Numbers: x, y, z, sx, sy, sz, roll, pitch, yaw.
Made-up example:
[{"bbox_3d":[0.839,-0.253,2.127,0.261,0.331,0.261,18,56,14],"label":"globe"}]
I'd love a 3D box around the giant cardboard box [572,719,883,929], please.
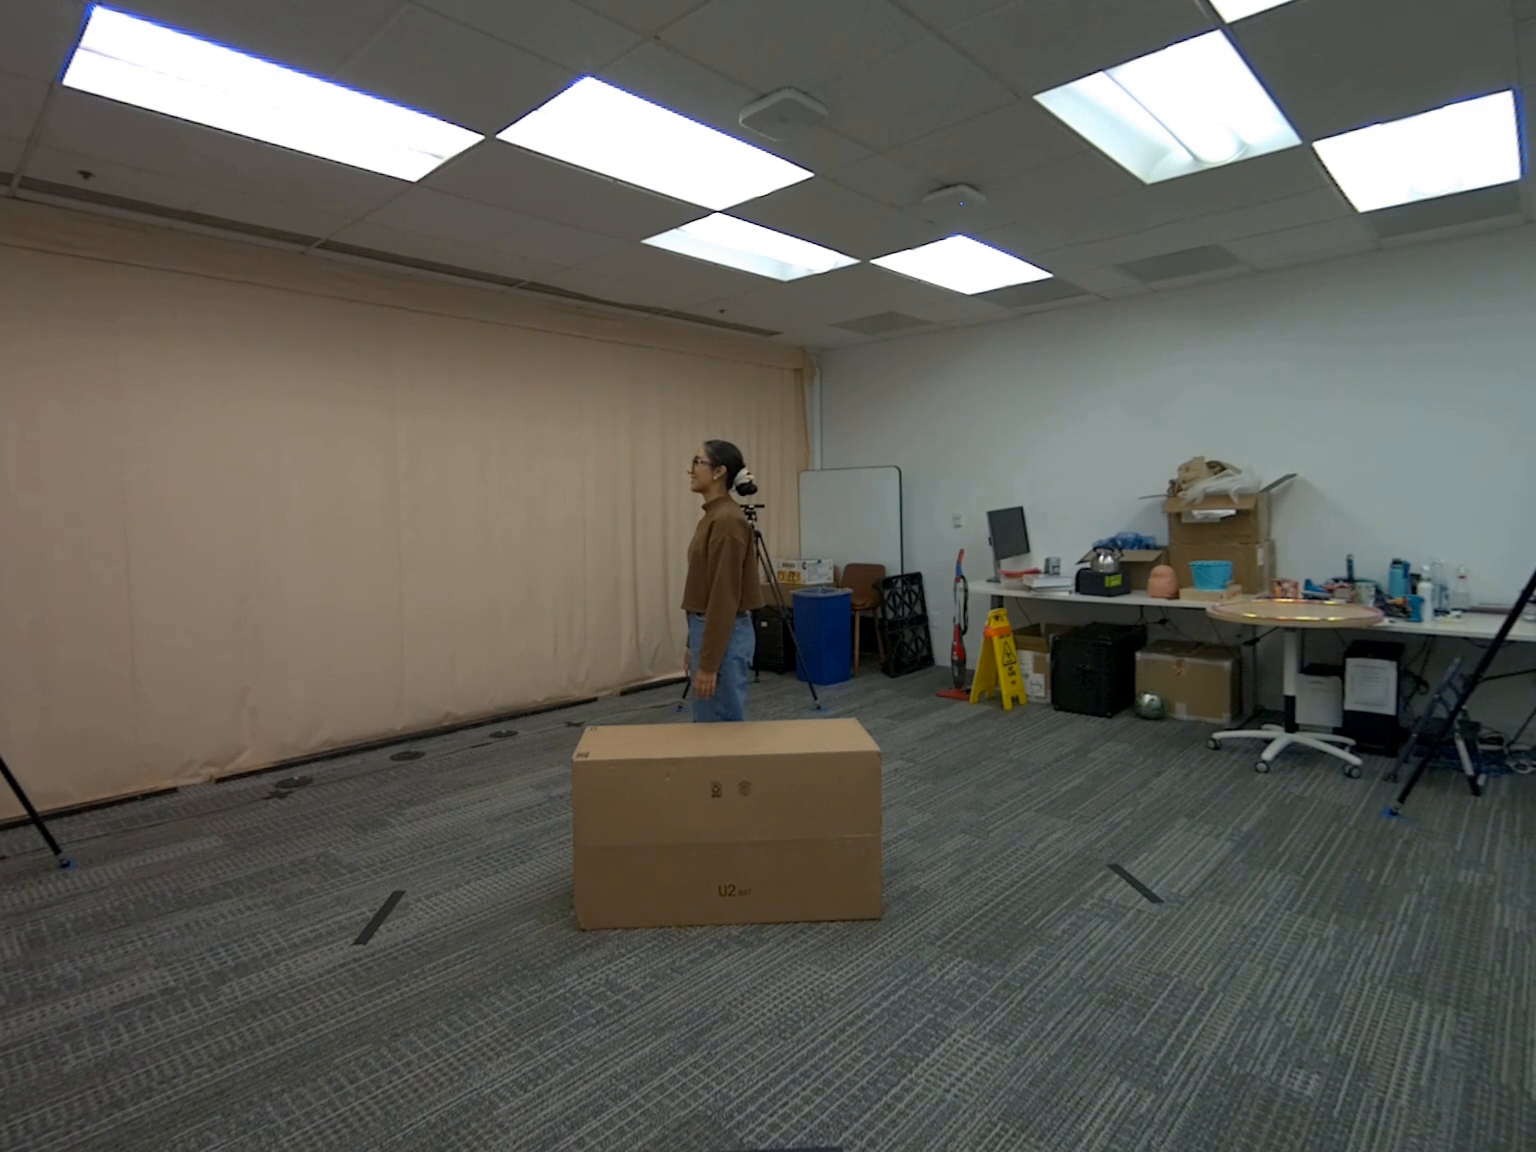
[{"bbox_3d":[-0.151,0.856,2.988,1.025,0.582,0.449,-1,5,-2],"label":"giant cardboard box"}]
